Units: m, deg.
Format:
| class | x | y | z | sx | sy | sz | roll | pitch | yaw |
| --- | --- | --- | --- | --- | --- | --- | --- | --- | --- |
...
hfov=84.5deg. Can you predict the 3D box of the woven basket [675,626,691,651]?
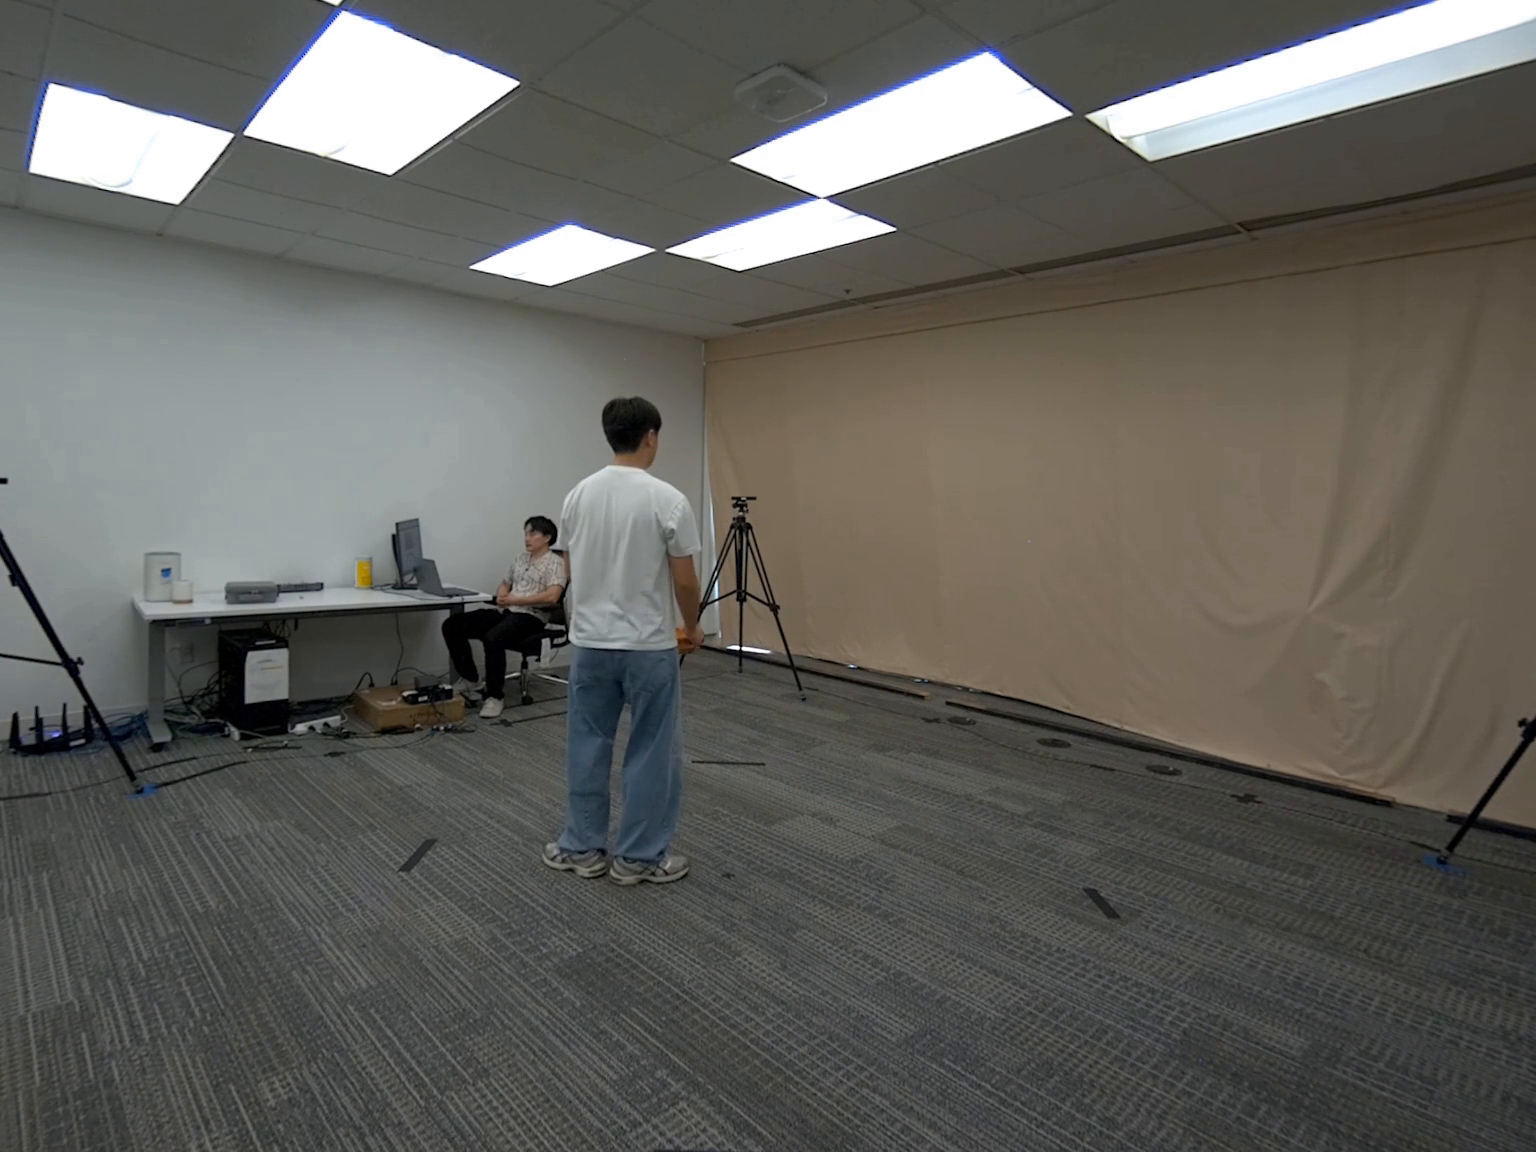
| class | x | y | z | sx | sy | sz | roll | pitch | yaw |
| --- | --- | --- | --- | --- | --- | --- | --- | --- | --- |
| woven basket | -0.426 | 0.257 | 3.338 | 0.358 | 0.073 | 0.248 | 9 | 6 | 26 |
